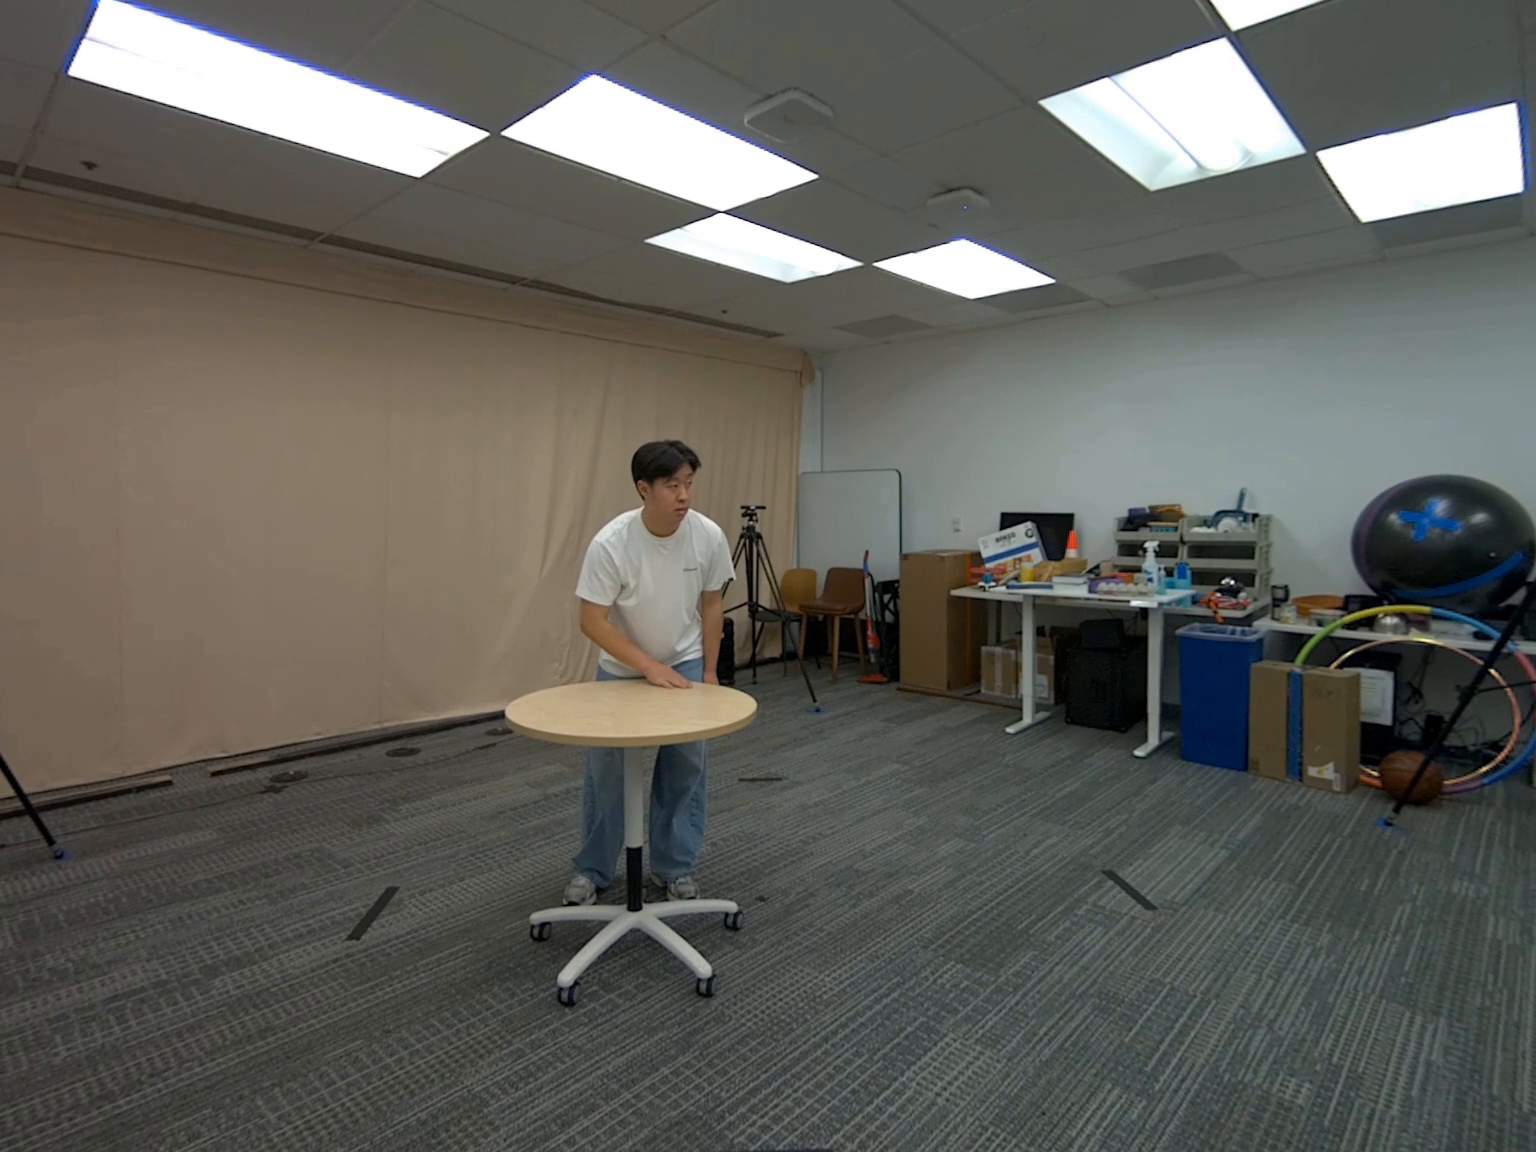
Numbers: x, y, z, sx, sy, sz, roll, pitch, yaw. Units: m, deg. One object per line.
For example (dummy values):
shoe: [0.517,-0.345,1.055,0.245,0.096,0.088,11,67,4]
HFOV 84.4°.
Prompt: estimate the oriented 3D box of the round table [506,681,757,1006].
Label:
round table: [-0.404,0.786,2.608,0.763,0.792,0.766,0,4,-2]
